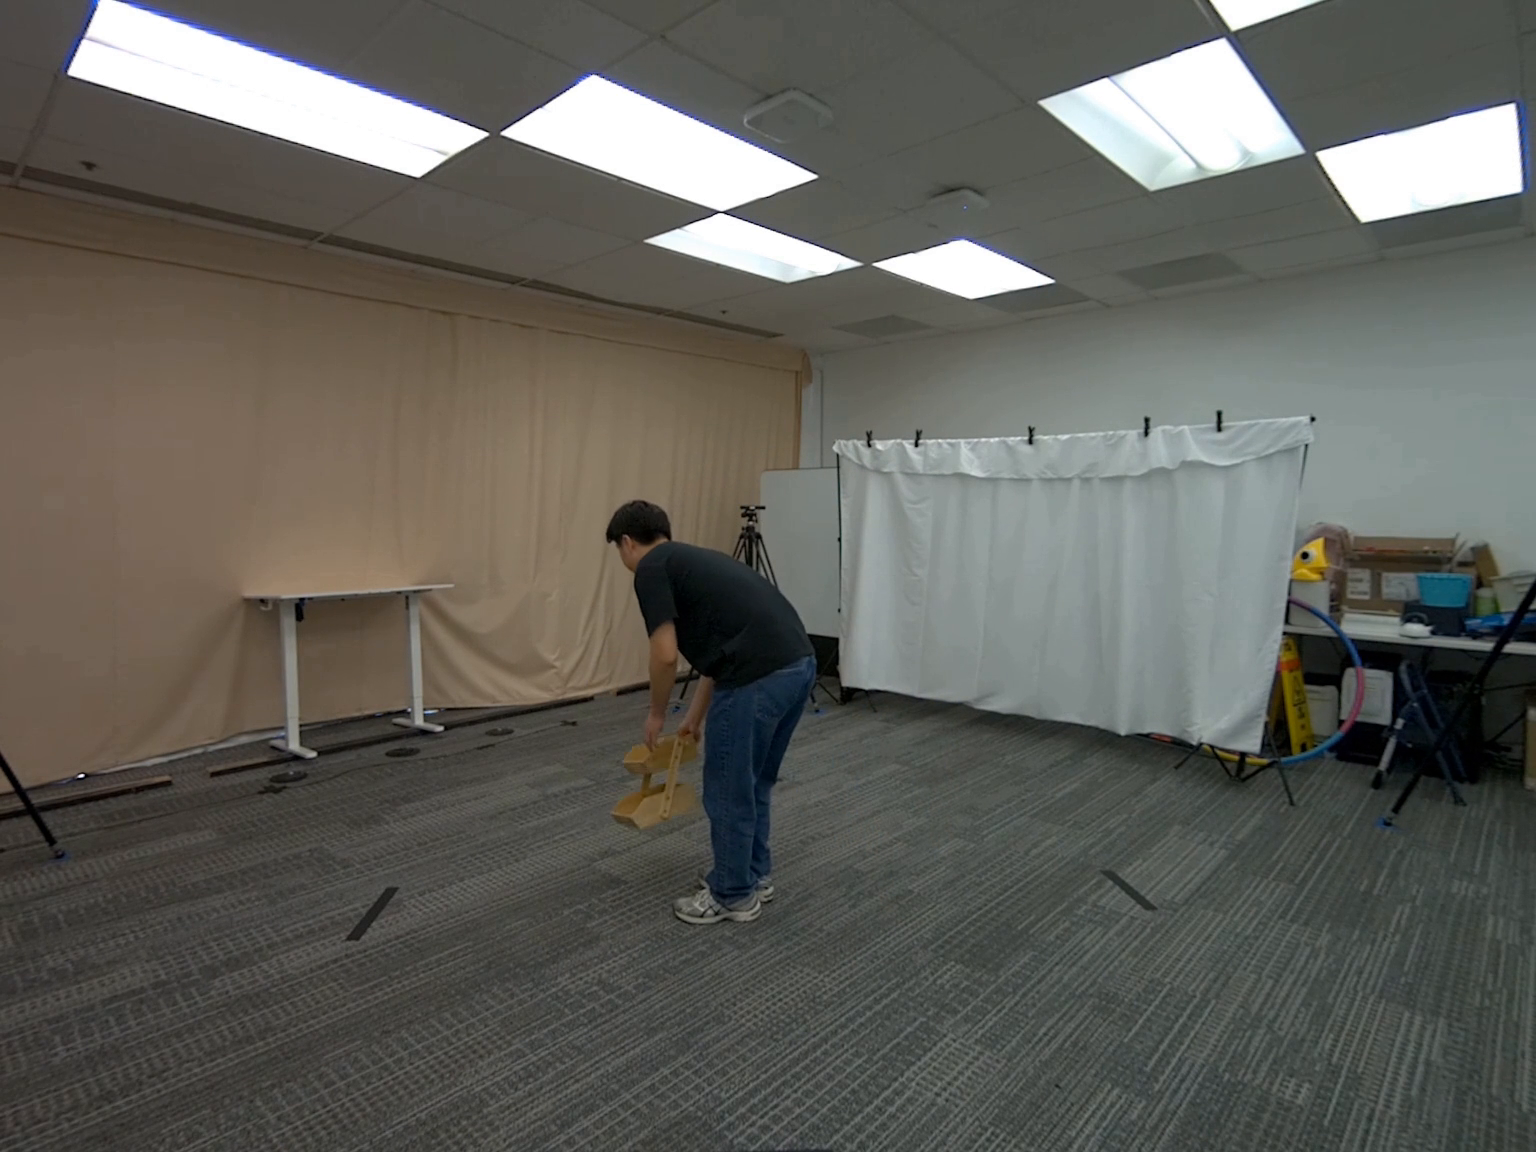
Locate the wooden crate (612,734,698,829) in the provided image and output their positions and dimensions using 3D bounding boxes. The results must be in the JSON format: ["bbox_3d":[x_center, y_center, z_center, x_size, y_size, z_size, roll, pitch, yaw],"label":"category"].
[{"bbox_3d":[-0.446,0.752,3.171,0.296,0.275,0.329,-10,-7,-23],"label":"wooden crate"}]
